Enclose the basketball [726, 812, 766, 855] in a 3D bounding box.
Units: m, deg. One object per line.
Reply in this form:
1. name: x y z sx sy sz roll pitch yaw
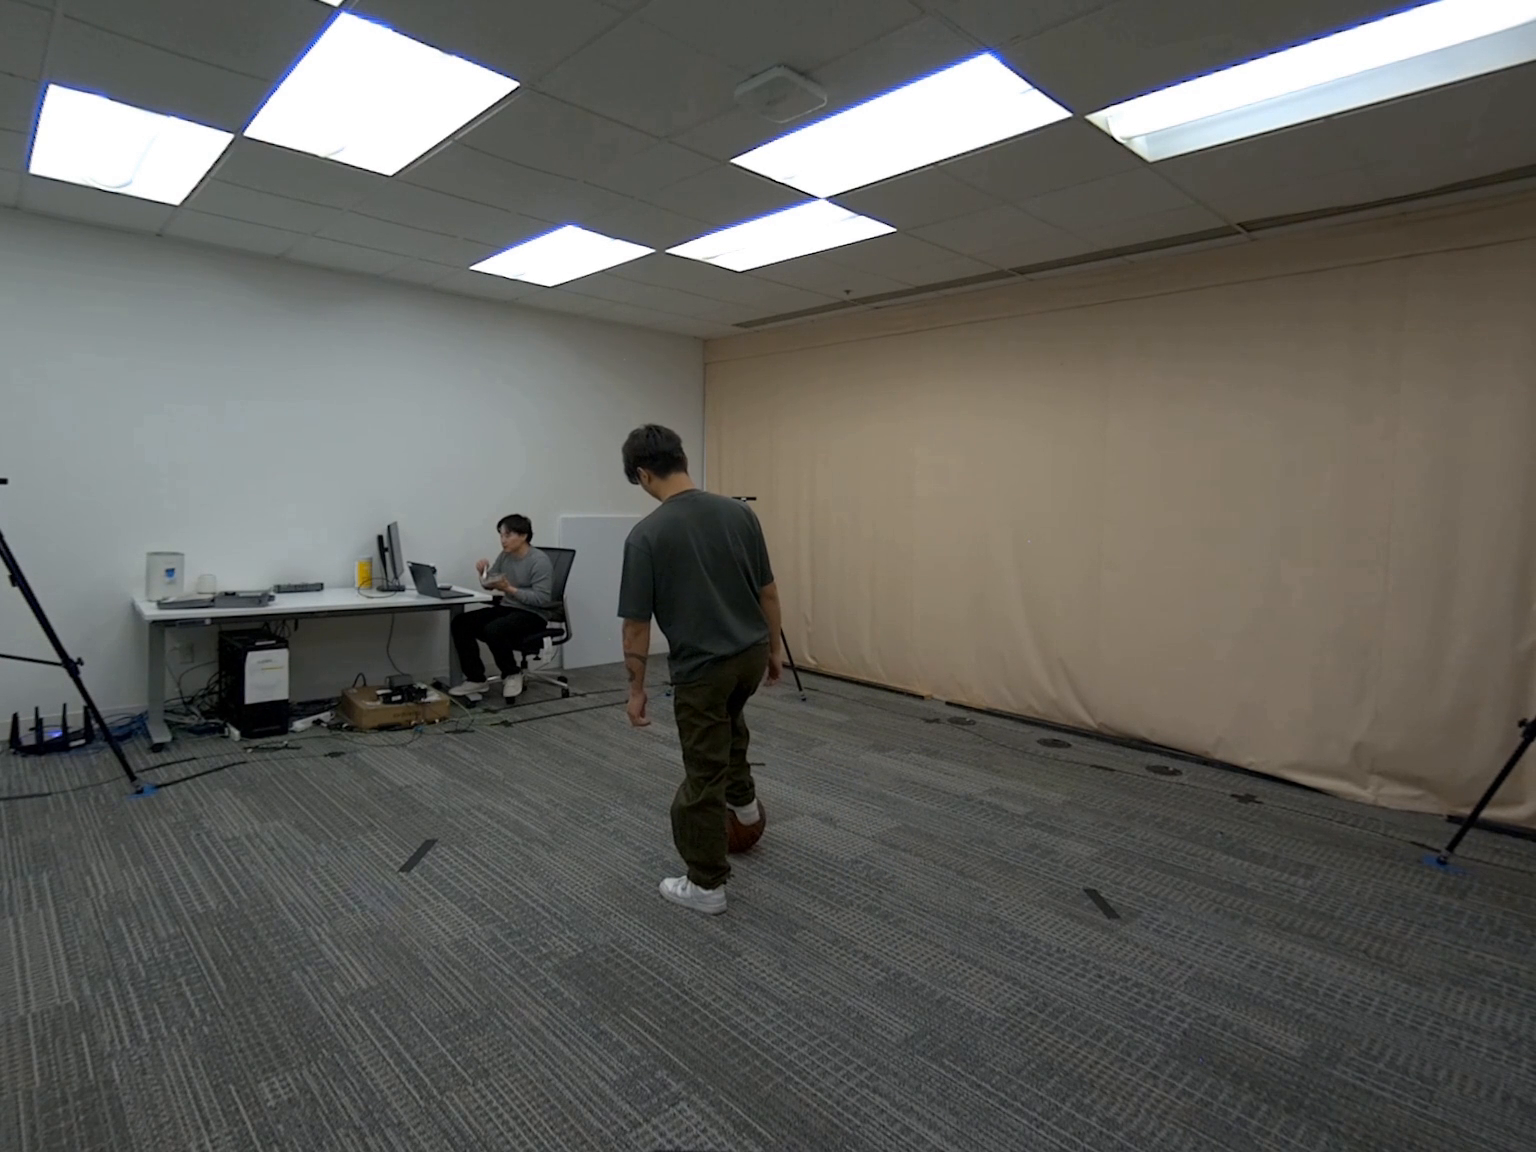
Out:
1. basketball: -0.131 0.967 3.347 0.236 0.235 0.237 1 4 -1
